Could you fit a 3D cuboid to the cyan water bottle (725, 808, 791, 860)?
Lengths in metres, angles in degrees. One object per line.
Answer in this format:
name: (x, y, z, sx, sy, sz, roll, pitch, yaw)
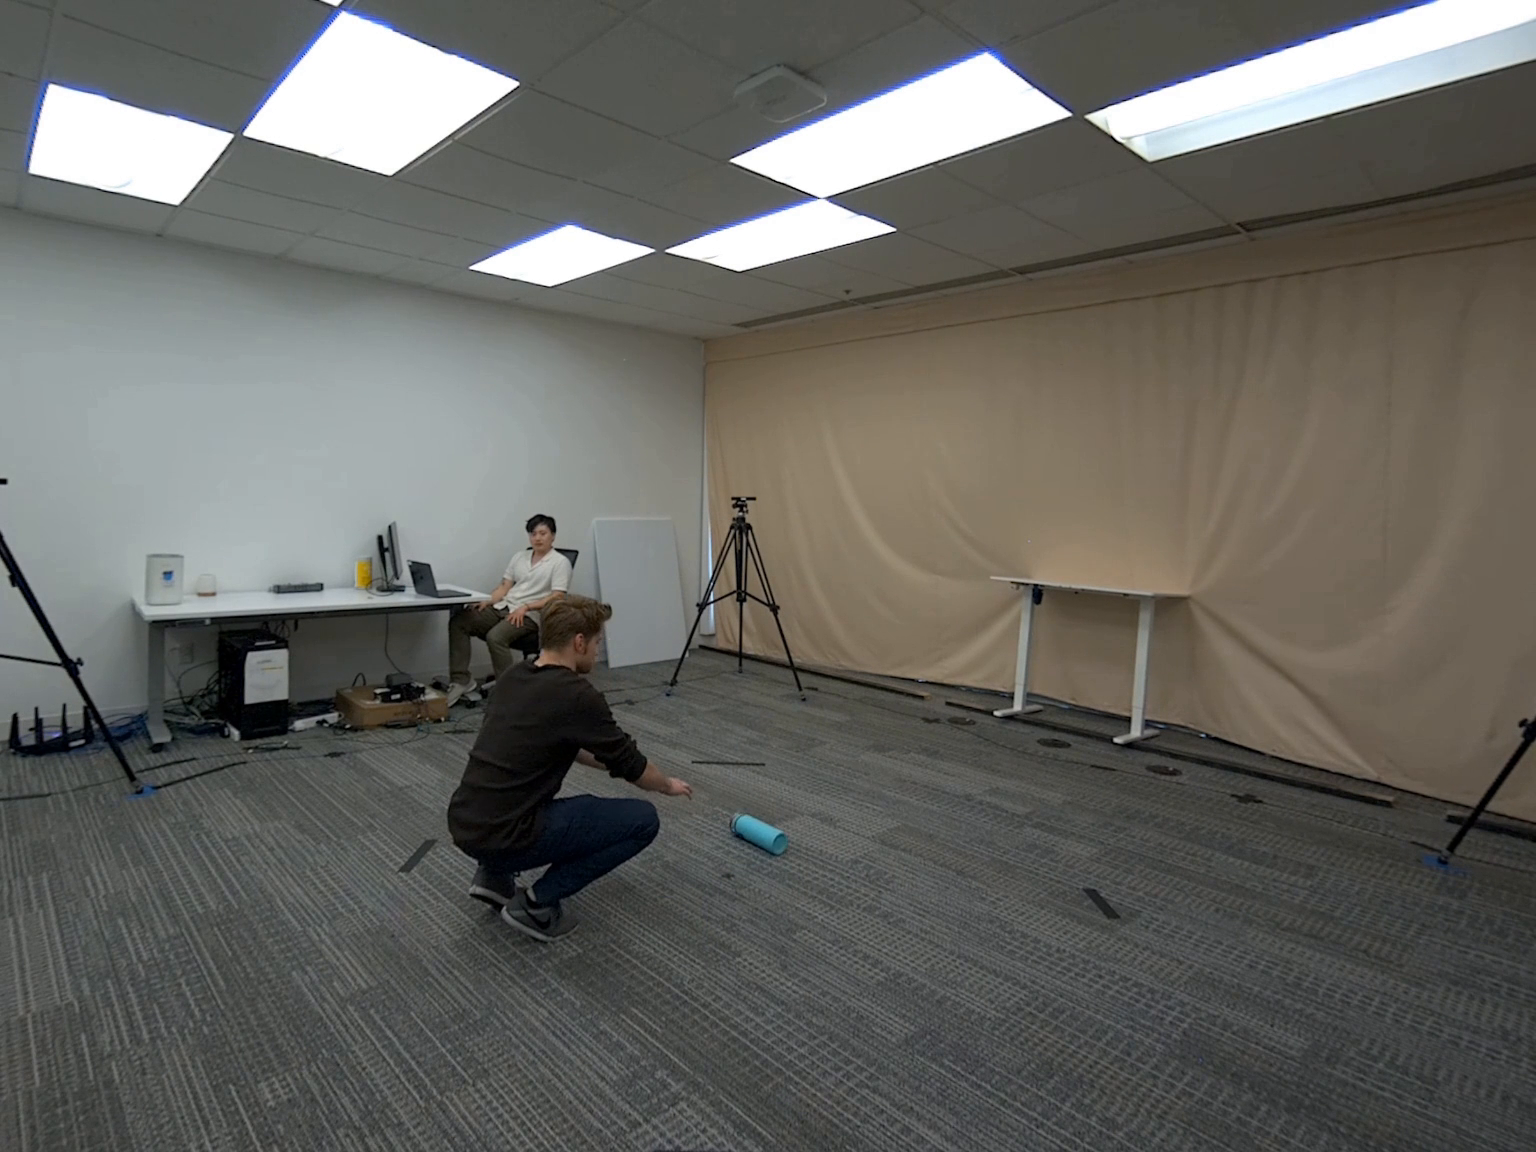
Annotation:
cyan water bottle: (-0.045, 1.031, 3.402, 0.090, 0.092, 0.291, -2, 6, -41)
